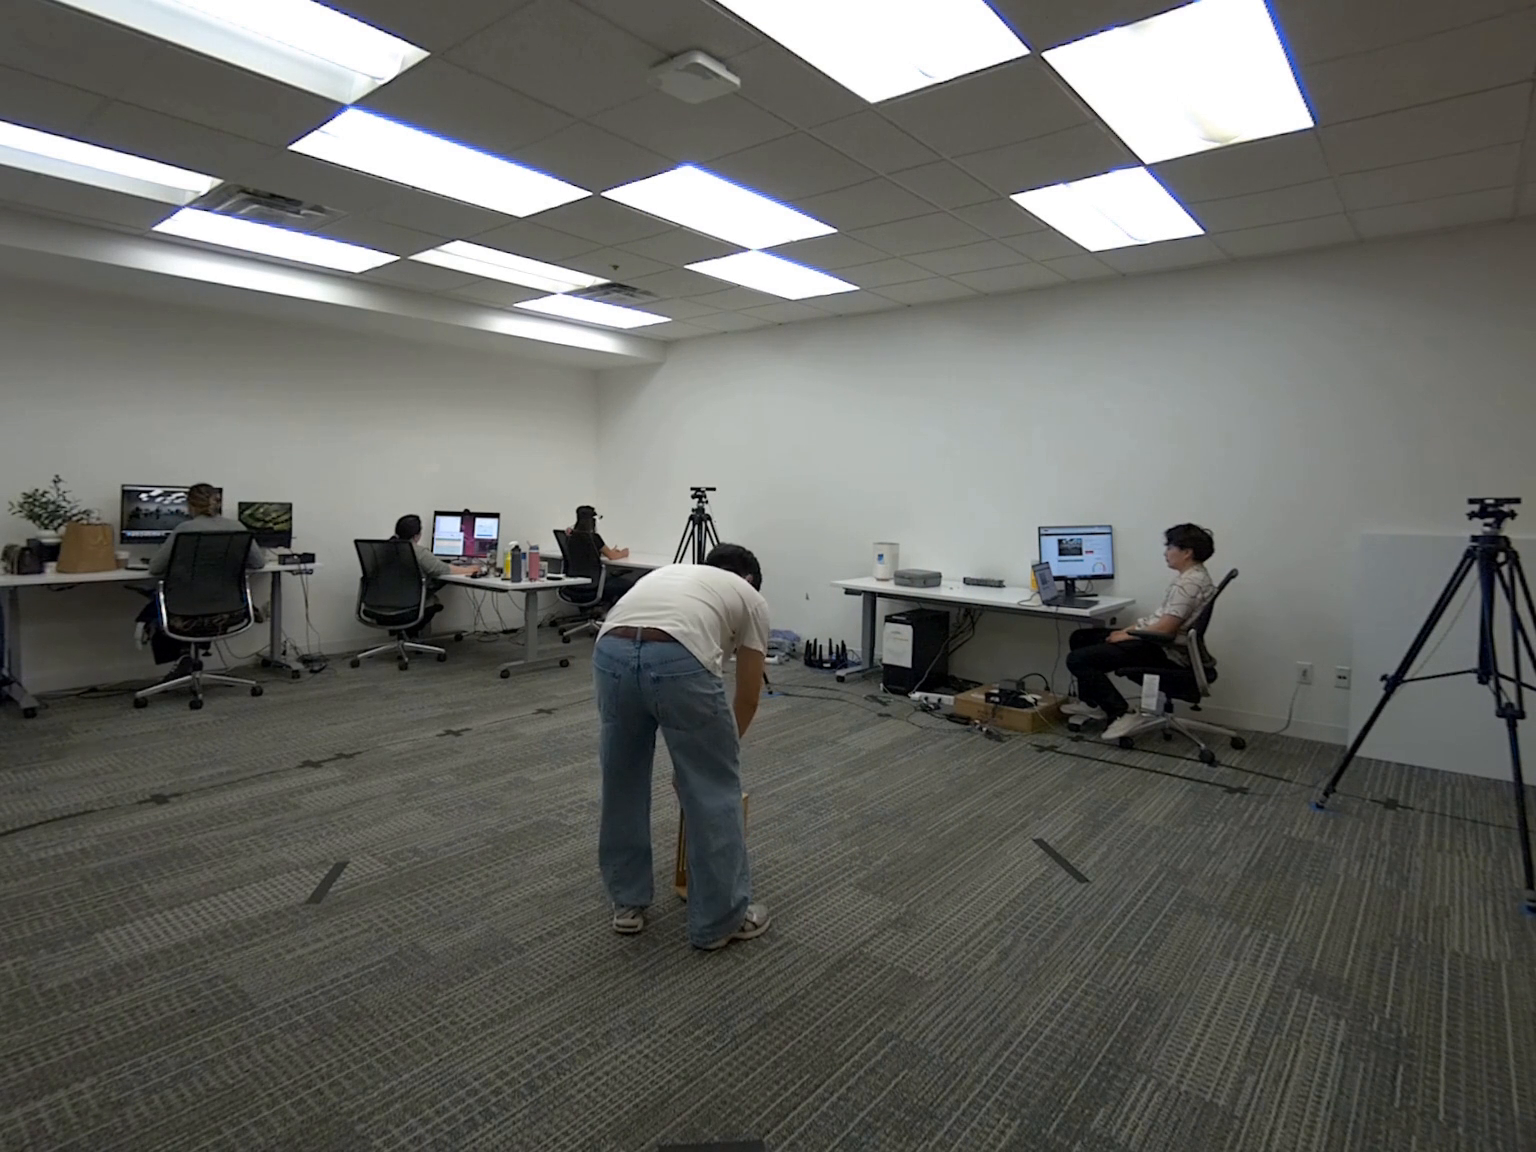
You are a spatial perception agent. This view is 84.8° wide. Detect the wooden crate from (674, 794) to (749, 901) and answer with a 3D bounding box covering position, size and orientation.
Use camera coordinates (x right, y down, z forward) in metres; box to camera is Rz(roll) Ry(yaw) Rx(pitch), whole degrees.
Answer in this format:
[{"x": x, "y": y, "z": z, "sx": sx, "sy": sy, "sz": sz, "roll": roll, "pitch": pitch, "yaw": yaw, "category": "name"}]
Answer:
[{"x": -0.231, "y": 0.910, "z": 2.937, "sx": 0.311, "sy": 0.324, "sz": 0.266, "roll": 5, "pitch": 4, "yaw": 28, "category": "wooden crate"}]
